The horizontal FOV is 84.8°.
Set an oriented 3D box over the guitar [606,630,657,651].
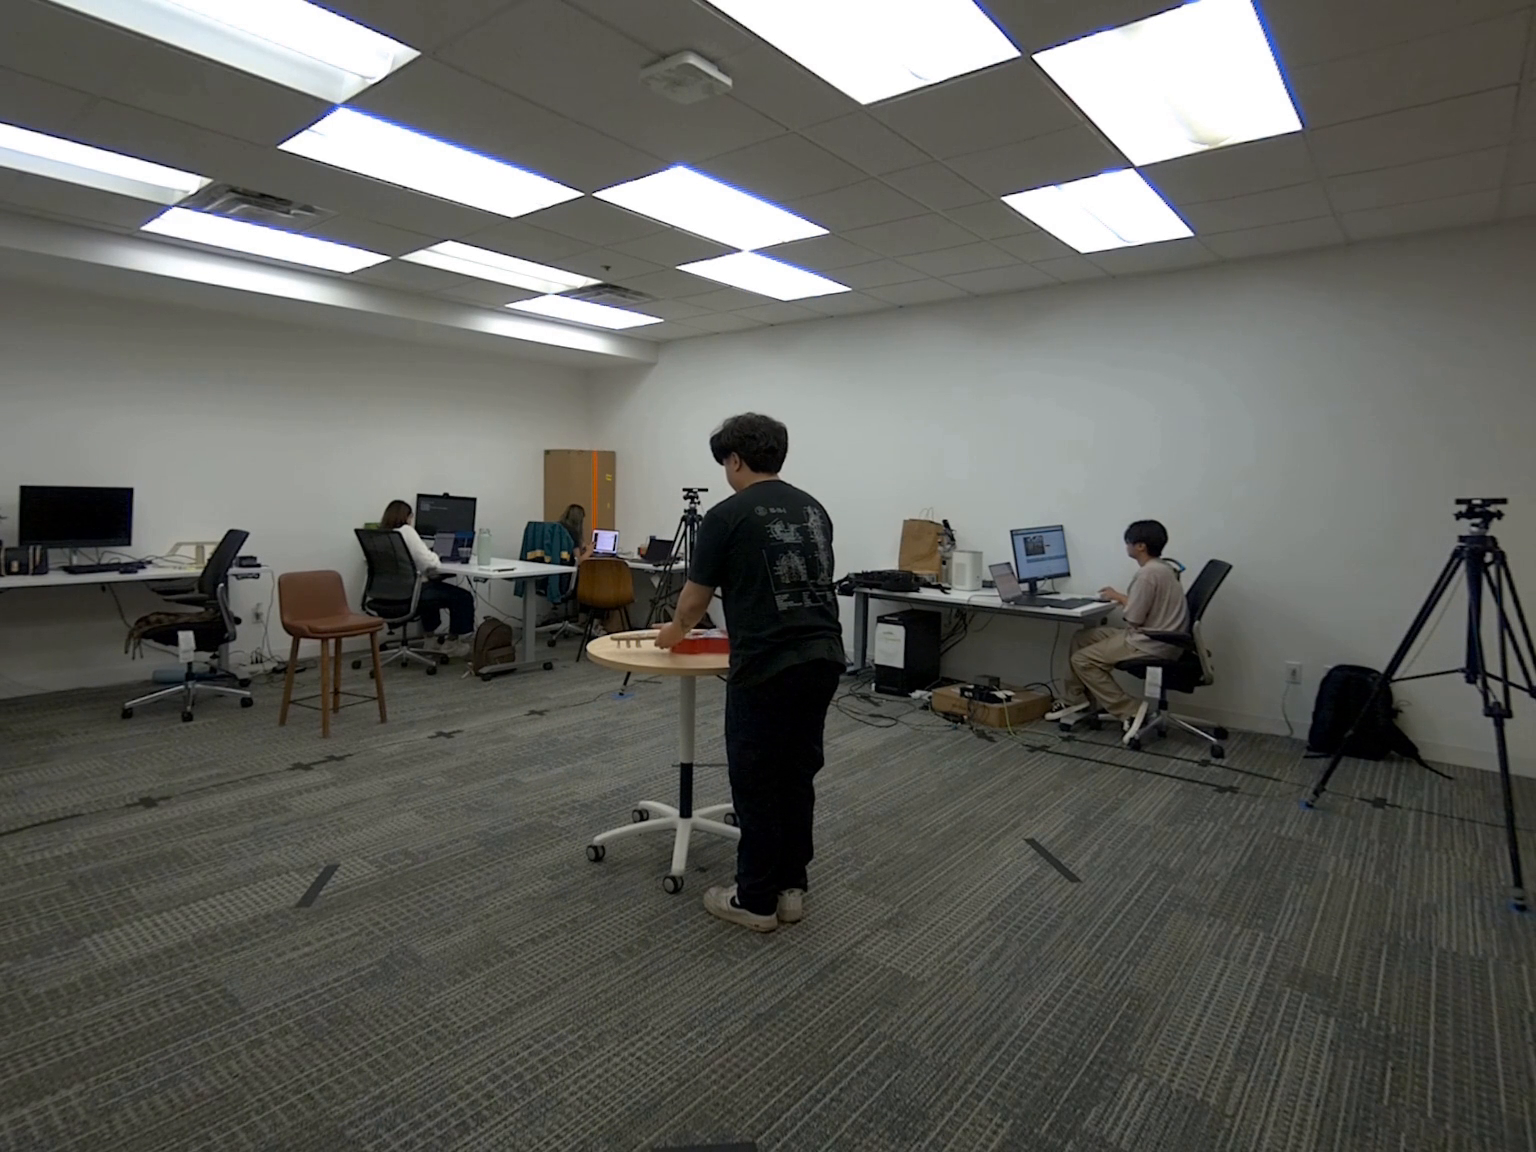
[{"bbox_3d":[-0.337,0.232,3.162,0.492,0.070,0.196,0,6,-11],"label":"guitar"}]
